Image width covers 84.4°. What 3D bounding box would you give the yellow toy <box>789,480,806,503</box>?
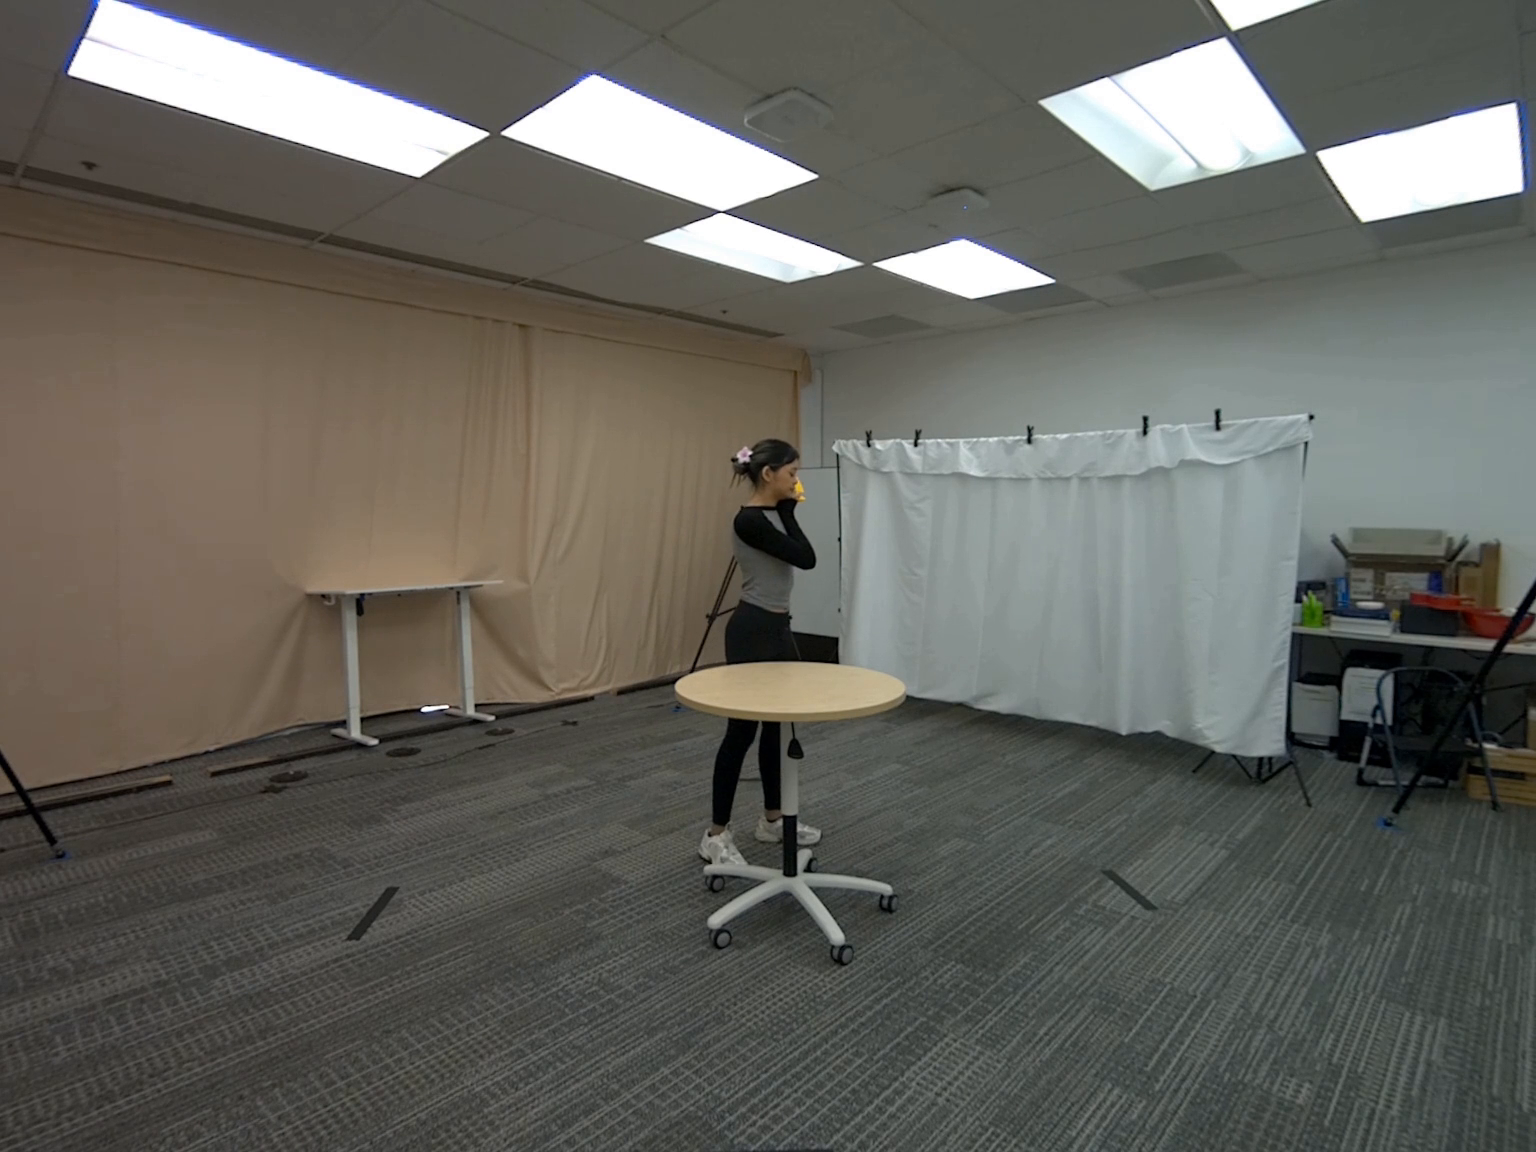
[{"bbox_3d":[0.048,-0.426,3.544,0.195,0.232,0.201,-11,-5,13],"label":"yellow toy"}]
